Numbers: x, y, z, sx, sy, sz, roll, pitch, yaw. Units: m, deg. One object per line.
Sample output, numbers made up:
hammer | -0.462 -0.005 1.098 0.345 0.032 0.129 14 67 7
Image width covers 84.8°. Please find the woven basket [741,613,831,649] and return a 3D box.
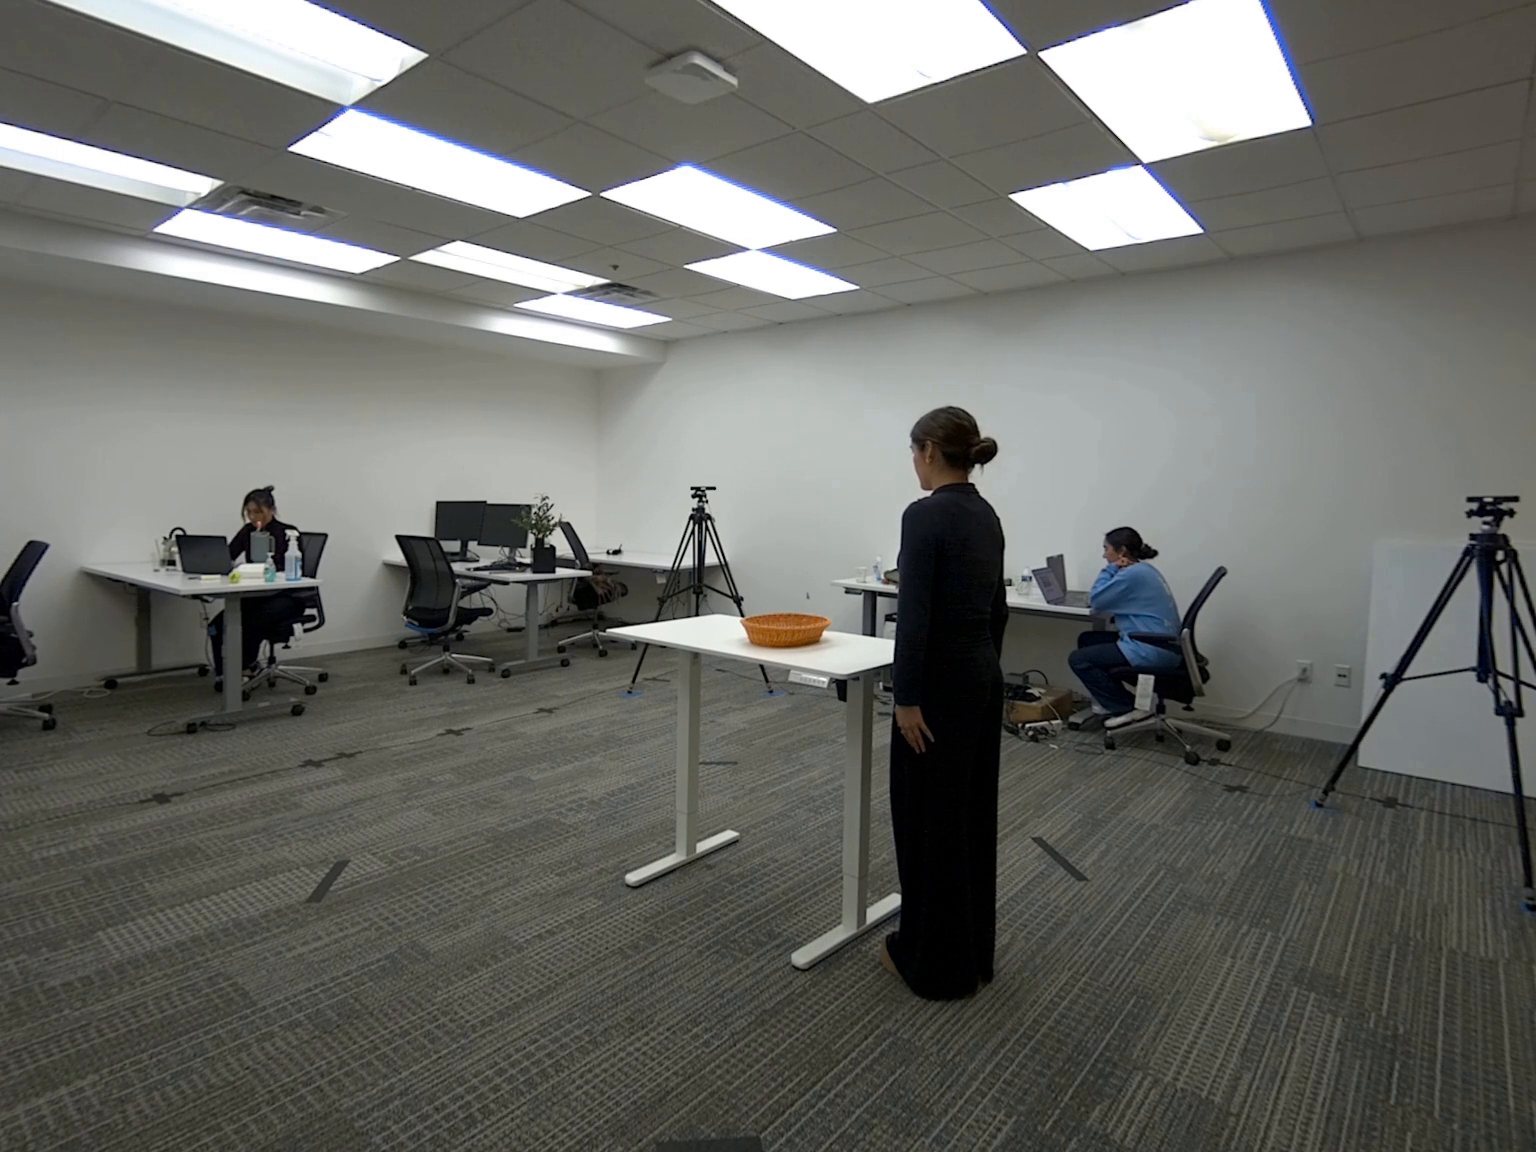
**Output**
woven basket | 0.063 0.184 2.835 0.261 0.073 0.340 6 7 43
